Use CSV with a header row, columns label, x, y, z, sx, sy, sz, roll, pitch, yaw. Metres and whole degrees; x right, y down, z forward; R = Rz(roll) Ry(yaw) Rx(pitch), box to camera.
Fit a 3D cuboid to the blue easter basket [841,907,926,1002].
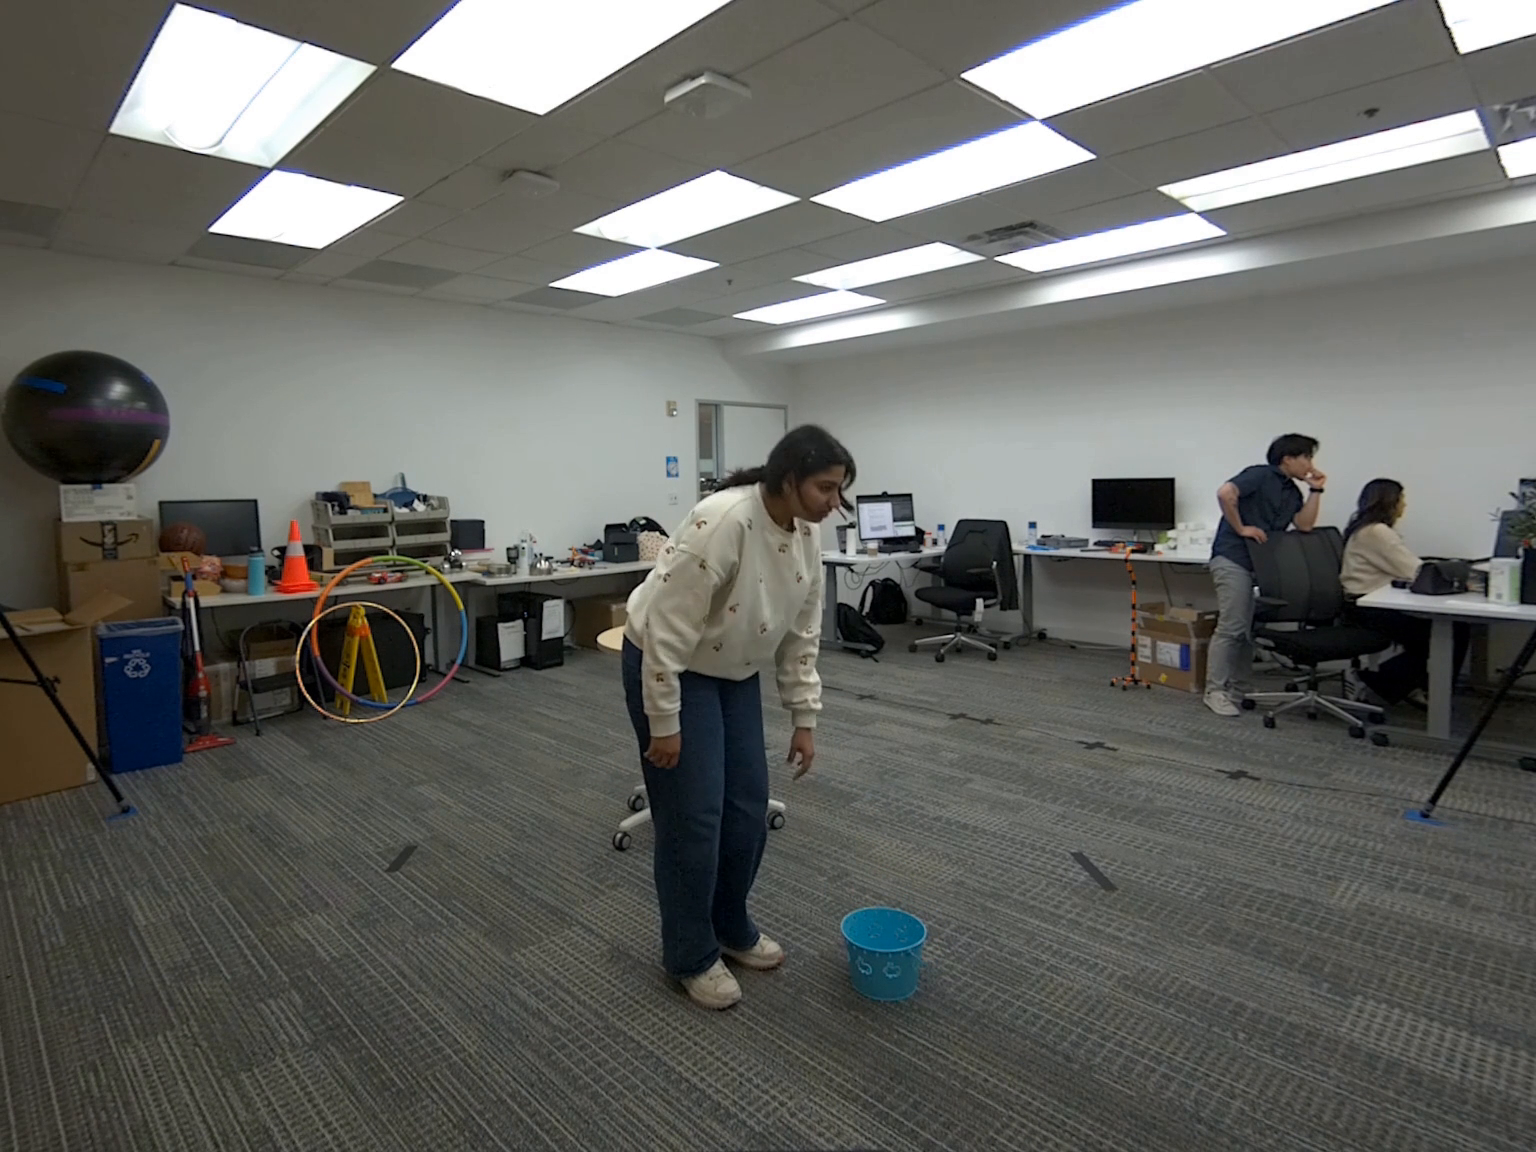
label,x,y,z,sx,sy,sz,roll,pitch,yaw
blue easter basket,0.323,1.041,2.361,0.243,0.155,0.244,-2,4,-2
